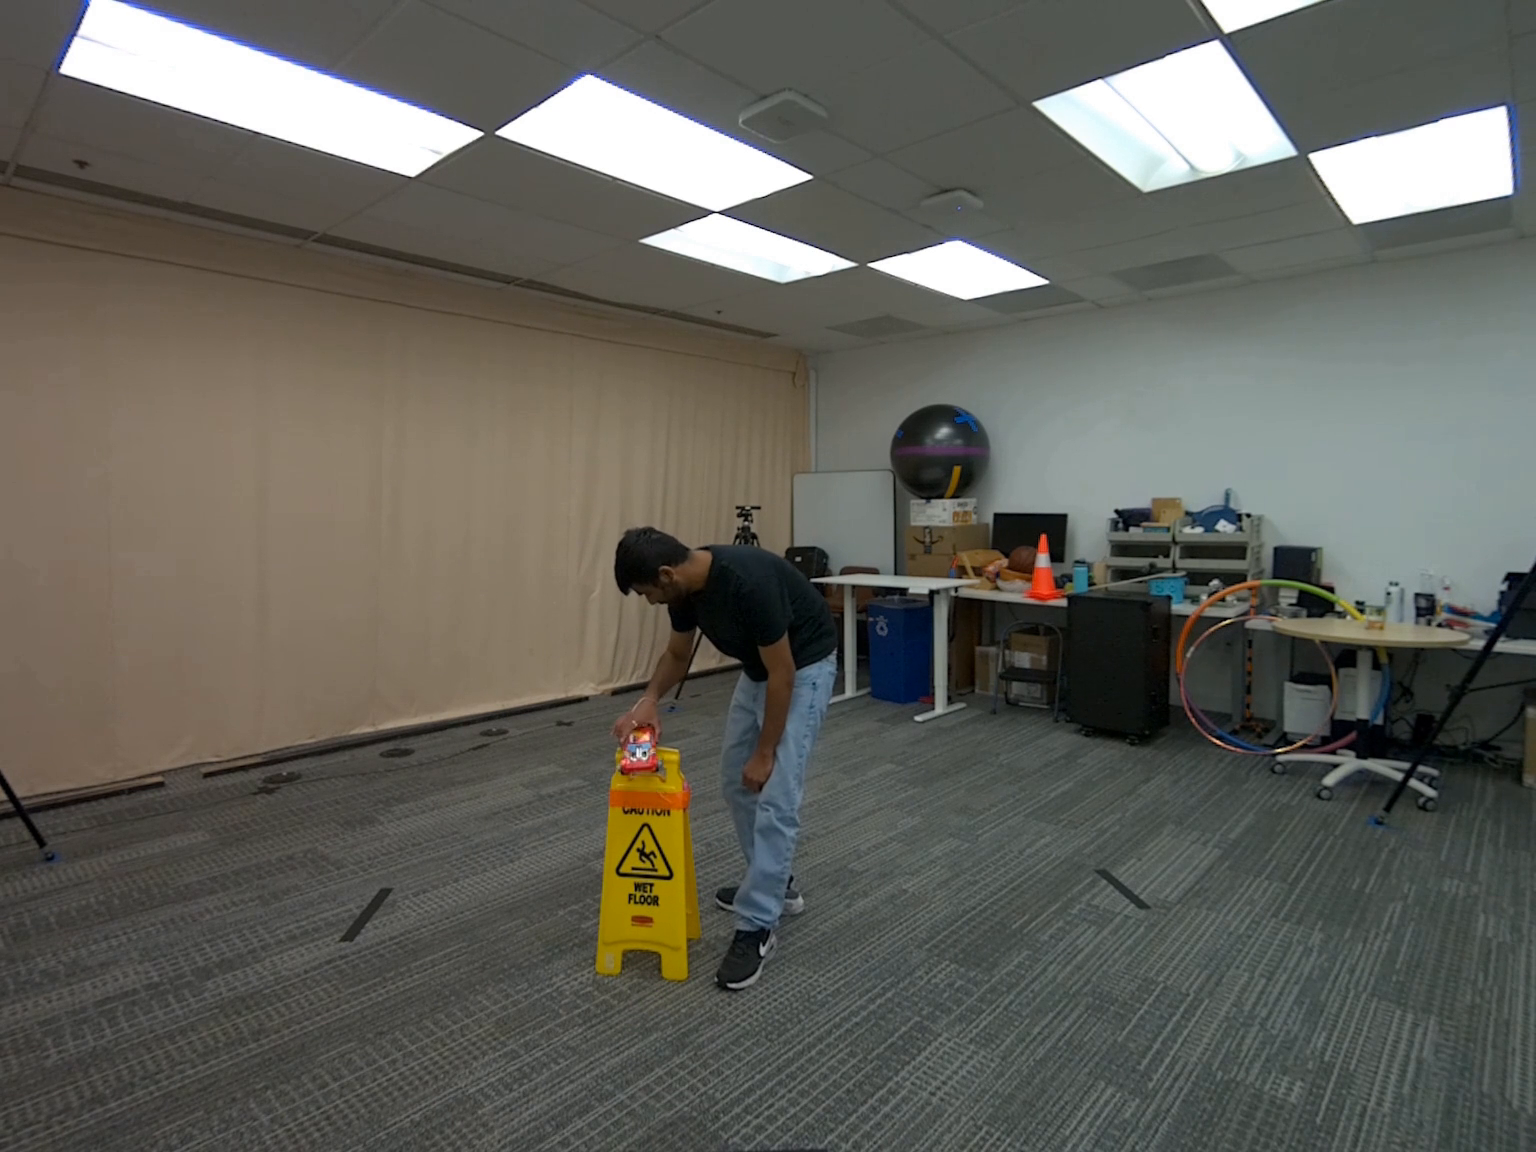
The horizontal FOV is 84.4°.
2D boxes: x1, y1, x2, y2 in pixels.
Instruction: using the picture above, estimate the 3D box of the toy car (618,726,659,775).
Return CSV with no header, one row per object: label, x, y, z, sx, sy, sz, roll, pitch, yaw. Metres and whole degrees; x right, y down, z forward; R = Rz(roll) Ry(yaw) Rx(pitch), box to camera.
toy car,-0.388,0.514,2.568,0.130,0.081,0.260,-8,37,-2
